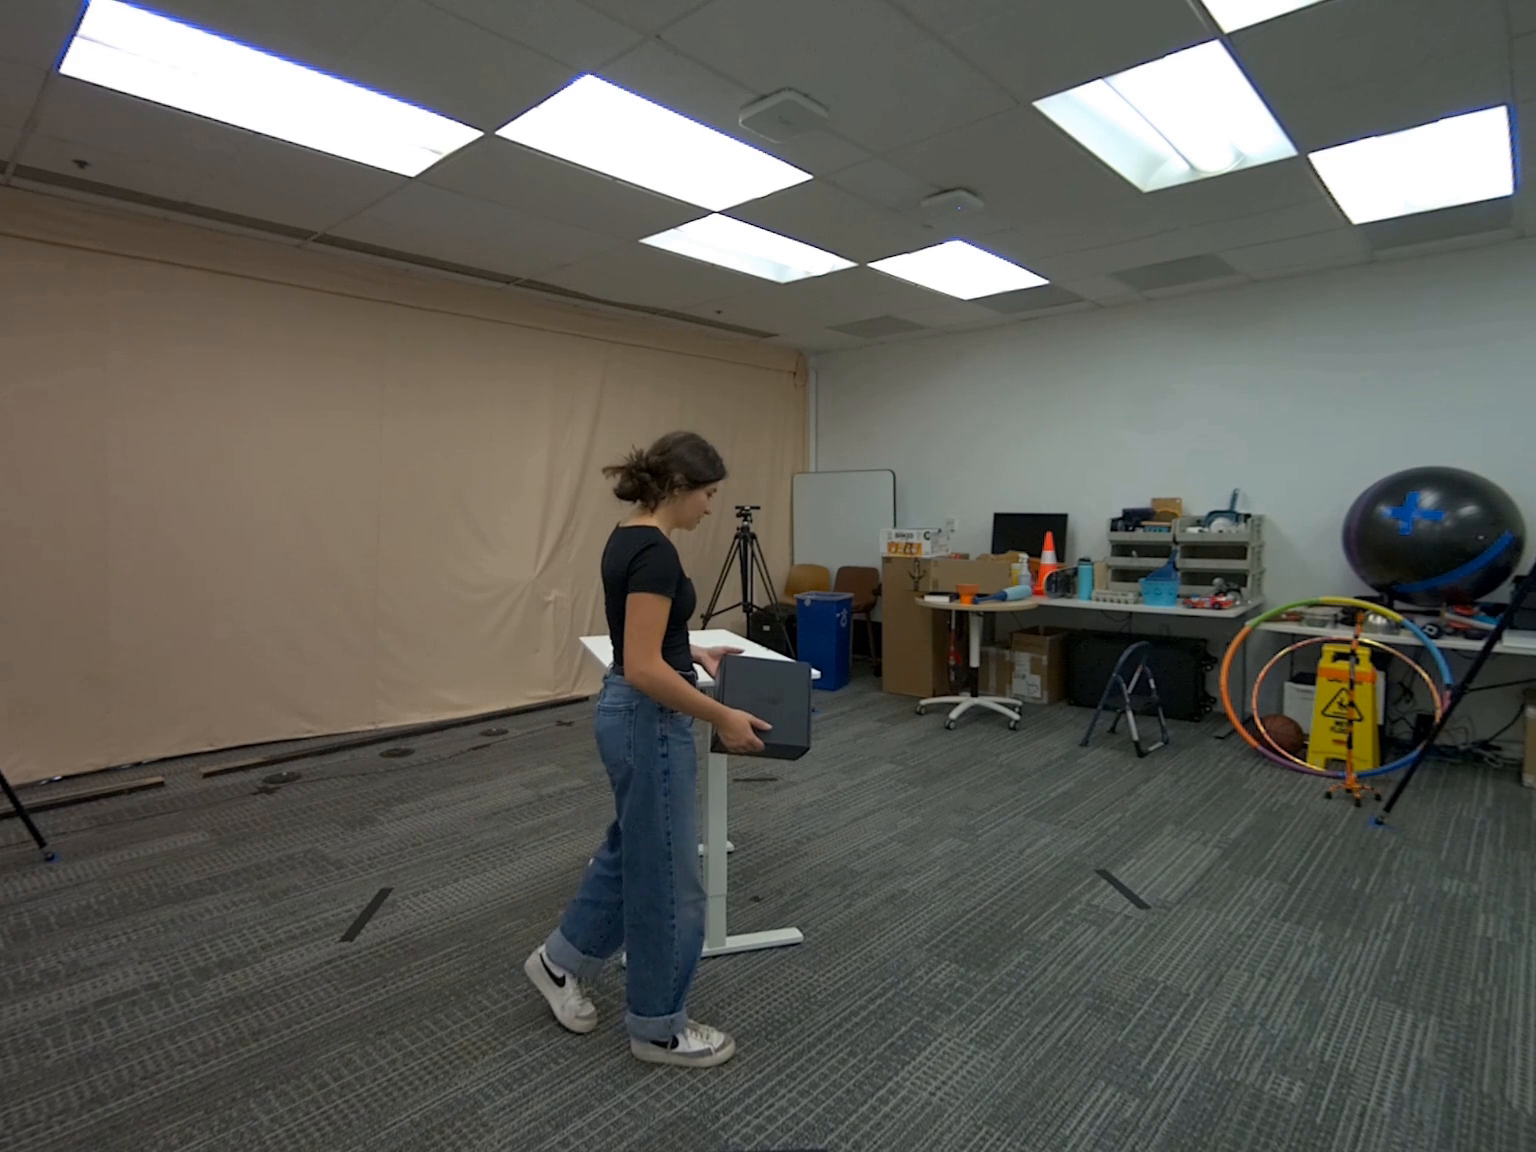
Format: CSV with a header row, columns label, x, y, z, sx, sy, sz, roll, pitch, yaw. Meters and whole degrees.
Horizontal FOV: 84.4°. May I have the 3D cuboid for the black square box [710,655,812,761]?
label,x,y,z,sx,sy,sz,roll,pitch,yaw
black square box,-0.025,0.331,2.097,0.226,0.220,0.155,7,-26,-8
